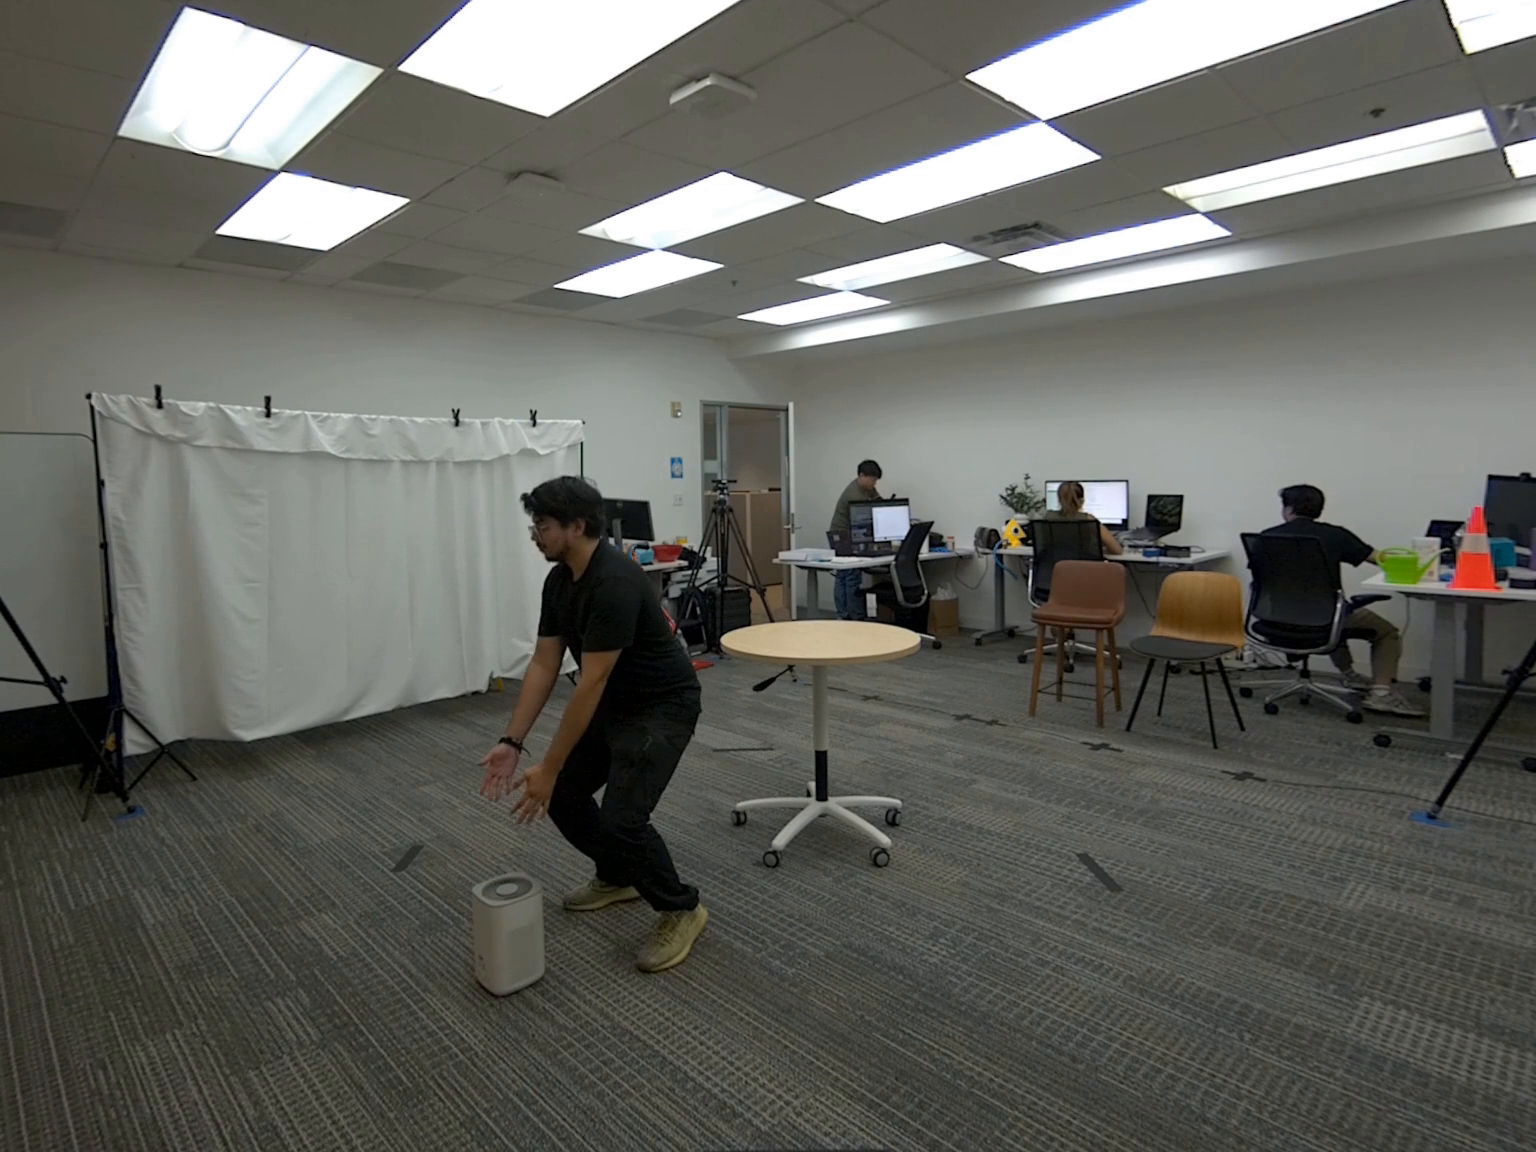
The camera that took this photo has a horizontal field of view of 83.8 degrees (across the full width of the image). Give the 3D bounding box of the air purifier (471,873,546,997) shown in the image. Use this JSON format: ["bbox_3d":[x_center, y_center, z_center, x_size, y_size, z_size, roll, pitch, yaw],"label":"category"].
[{"bbox_3d":[-0.726,1.009,2.404,0.167,0.264,0.176,-6,8,-44],"label":"air purifier"}]
